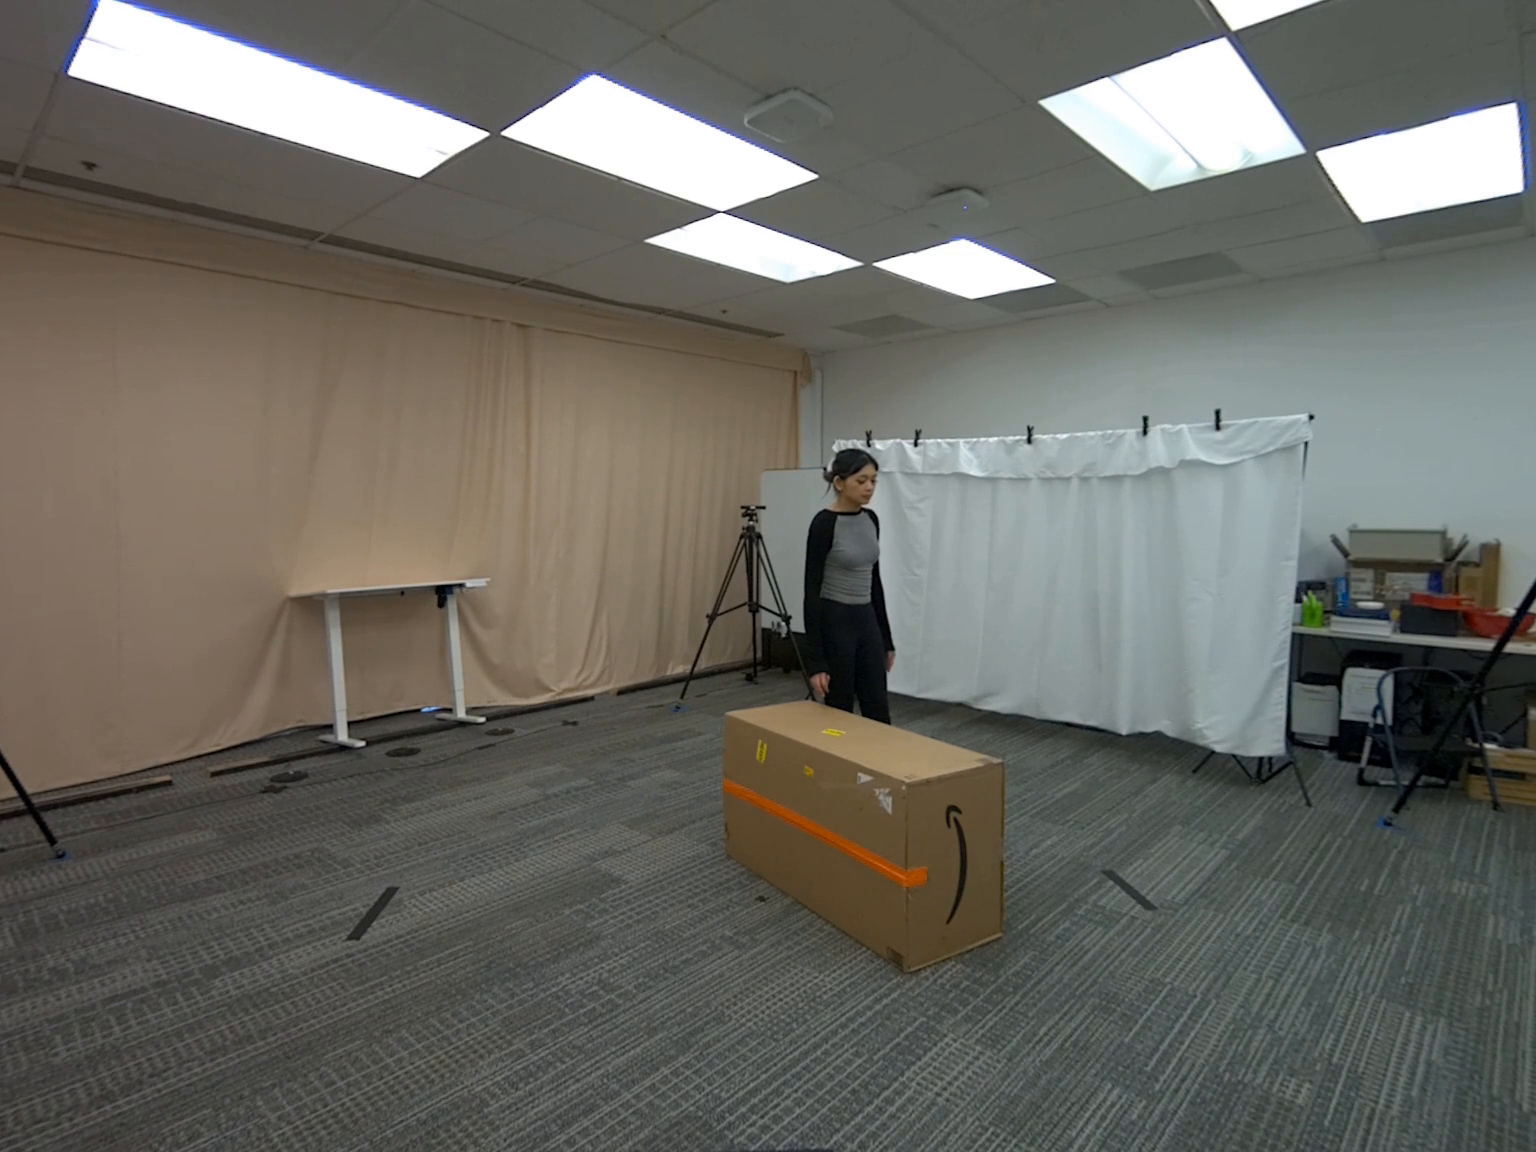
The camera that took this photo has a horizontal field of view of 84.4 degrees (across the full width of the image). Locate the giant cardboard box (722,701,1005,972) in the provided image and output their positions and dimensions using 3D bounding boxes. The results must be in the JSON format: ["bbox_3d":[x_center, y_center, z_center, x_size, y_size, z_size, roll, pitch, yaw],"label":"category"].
[{"bbox_3d":[0.289,0.853,3.022,0.414,0.576,1.057,-2,4,-33],"label":"giant cardboard box"}]
